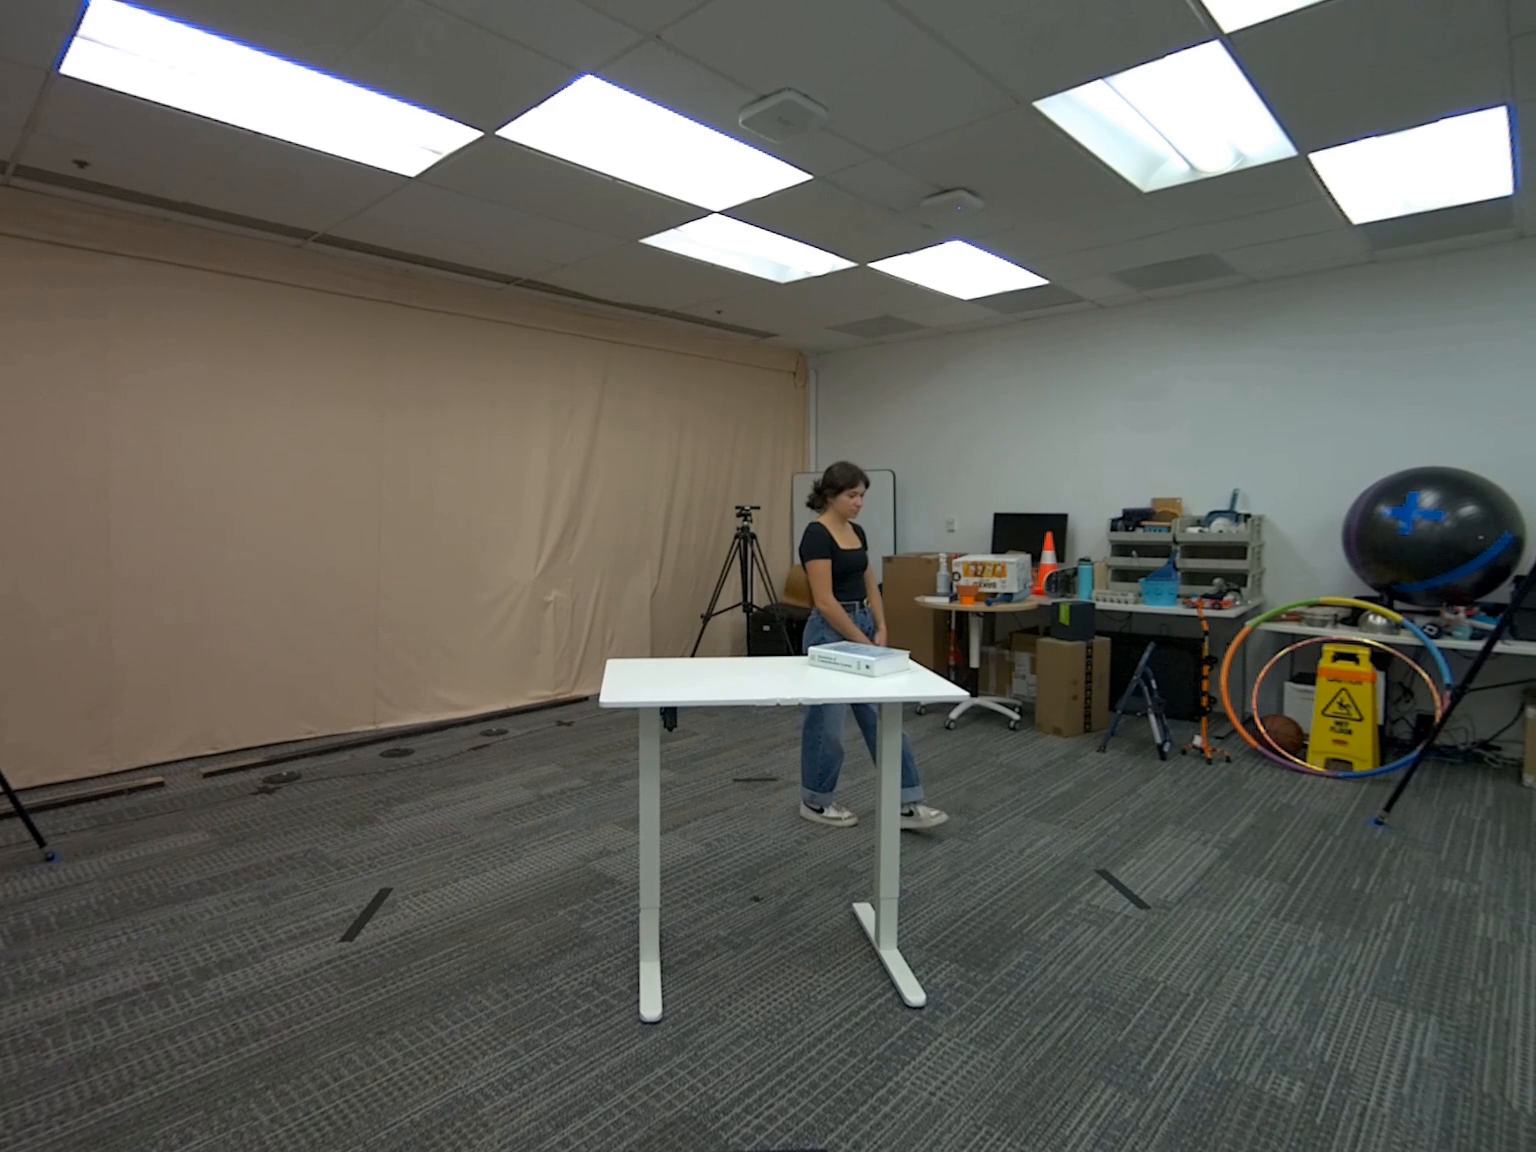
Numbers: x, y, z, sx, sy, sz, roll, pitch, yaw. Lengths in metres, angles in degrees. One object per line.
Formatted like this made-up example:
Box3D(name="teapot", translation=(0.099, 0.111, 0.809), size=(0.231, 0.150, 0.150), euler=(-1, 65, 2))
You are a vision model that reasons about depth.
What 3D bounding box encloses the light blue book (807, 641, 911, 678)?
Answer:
Box3D(name="light blue book", translation=(0.285, 0.264, 2.653), size=(0.185, 0.059, 0.270), euler=(-3, 6, -40))
